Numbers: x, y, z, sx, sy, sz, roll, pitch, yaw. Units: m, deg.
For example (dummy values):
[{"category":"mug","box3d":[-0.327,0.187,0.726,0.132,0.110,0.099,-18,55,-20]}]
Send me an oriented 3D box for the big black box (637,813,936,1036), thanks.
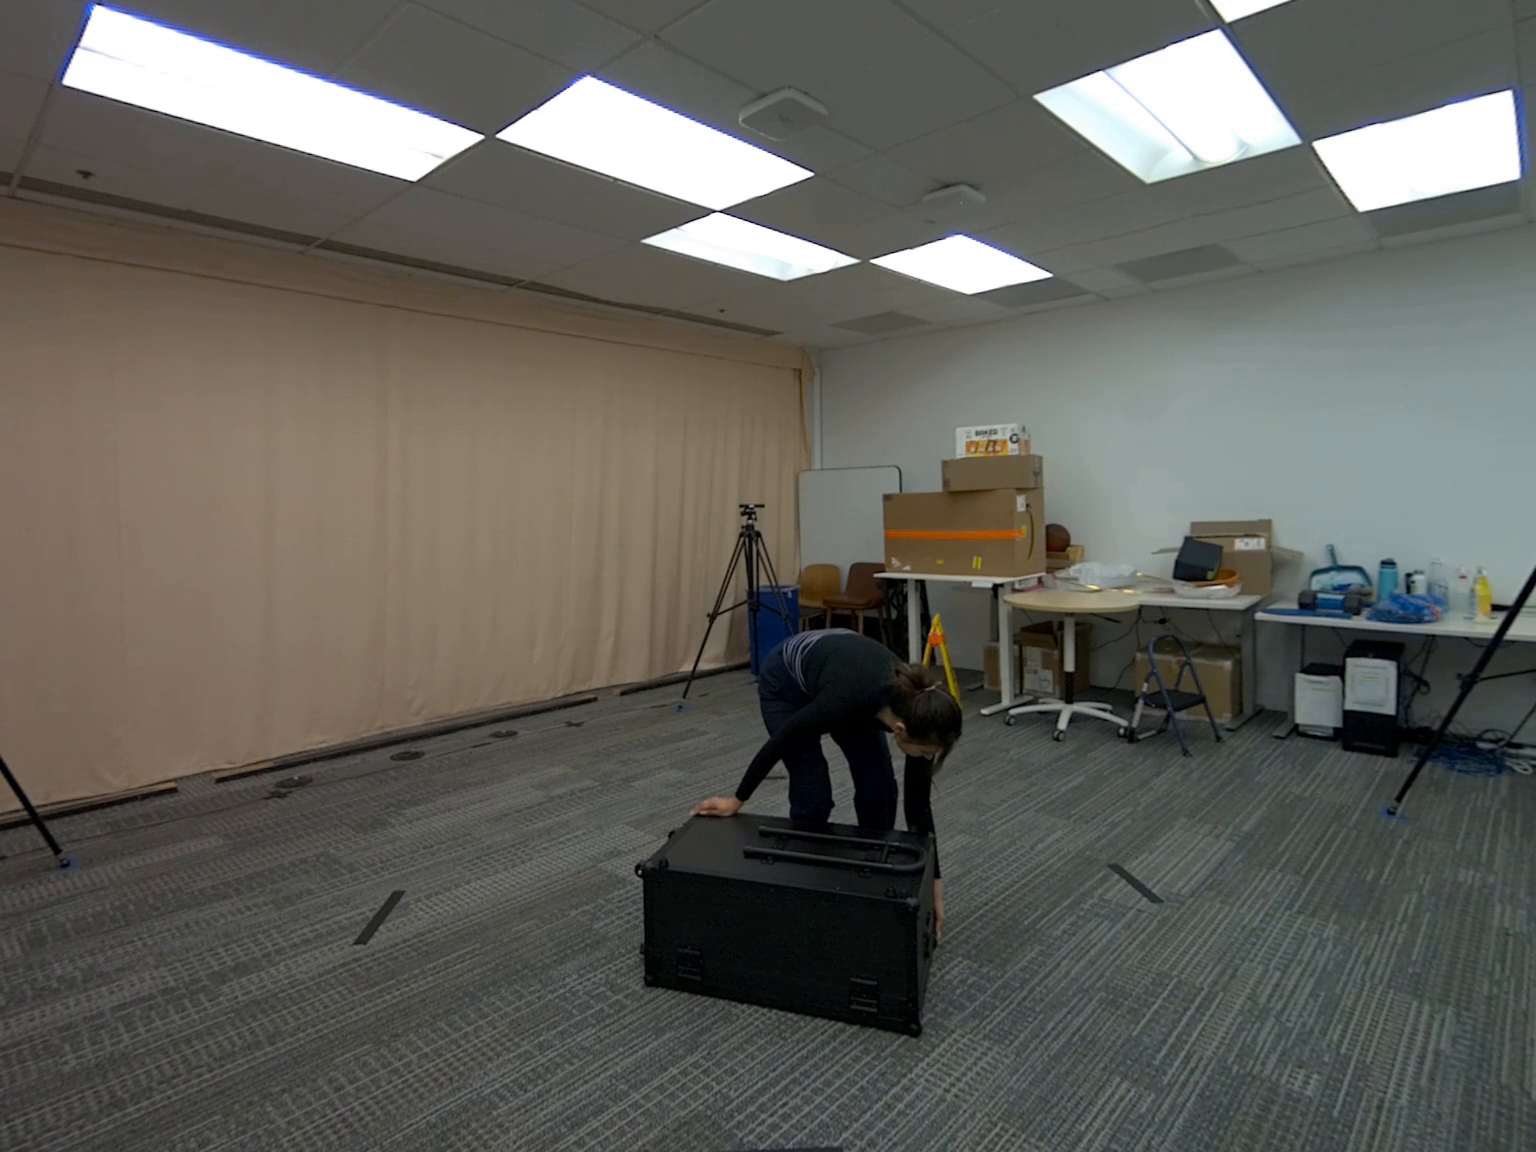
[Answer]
[{"category":"big black box","box3d":[0.043,0.978,2.538,0.878,0.395,0.512,-1,4,19]}]
